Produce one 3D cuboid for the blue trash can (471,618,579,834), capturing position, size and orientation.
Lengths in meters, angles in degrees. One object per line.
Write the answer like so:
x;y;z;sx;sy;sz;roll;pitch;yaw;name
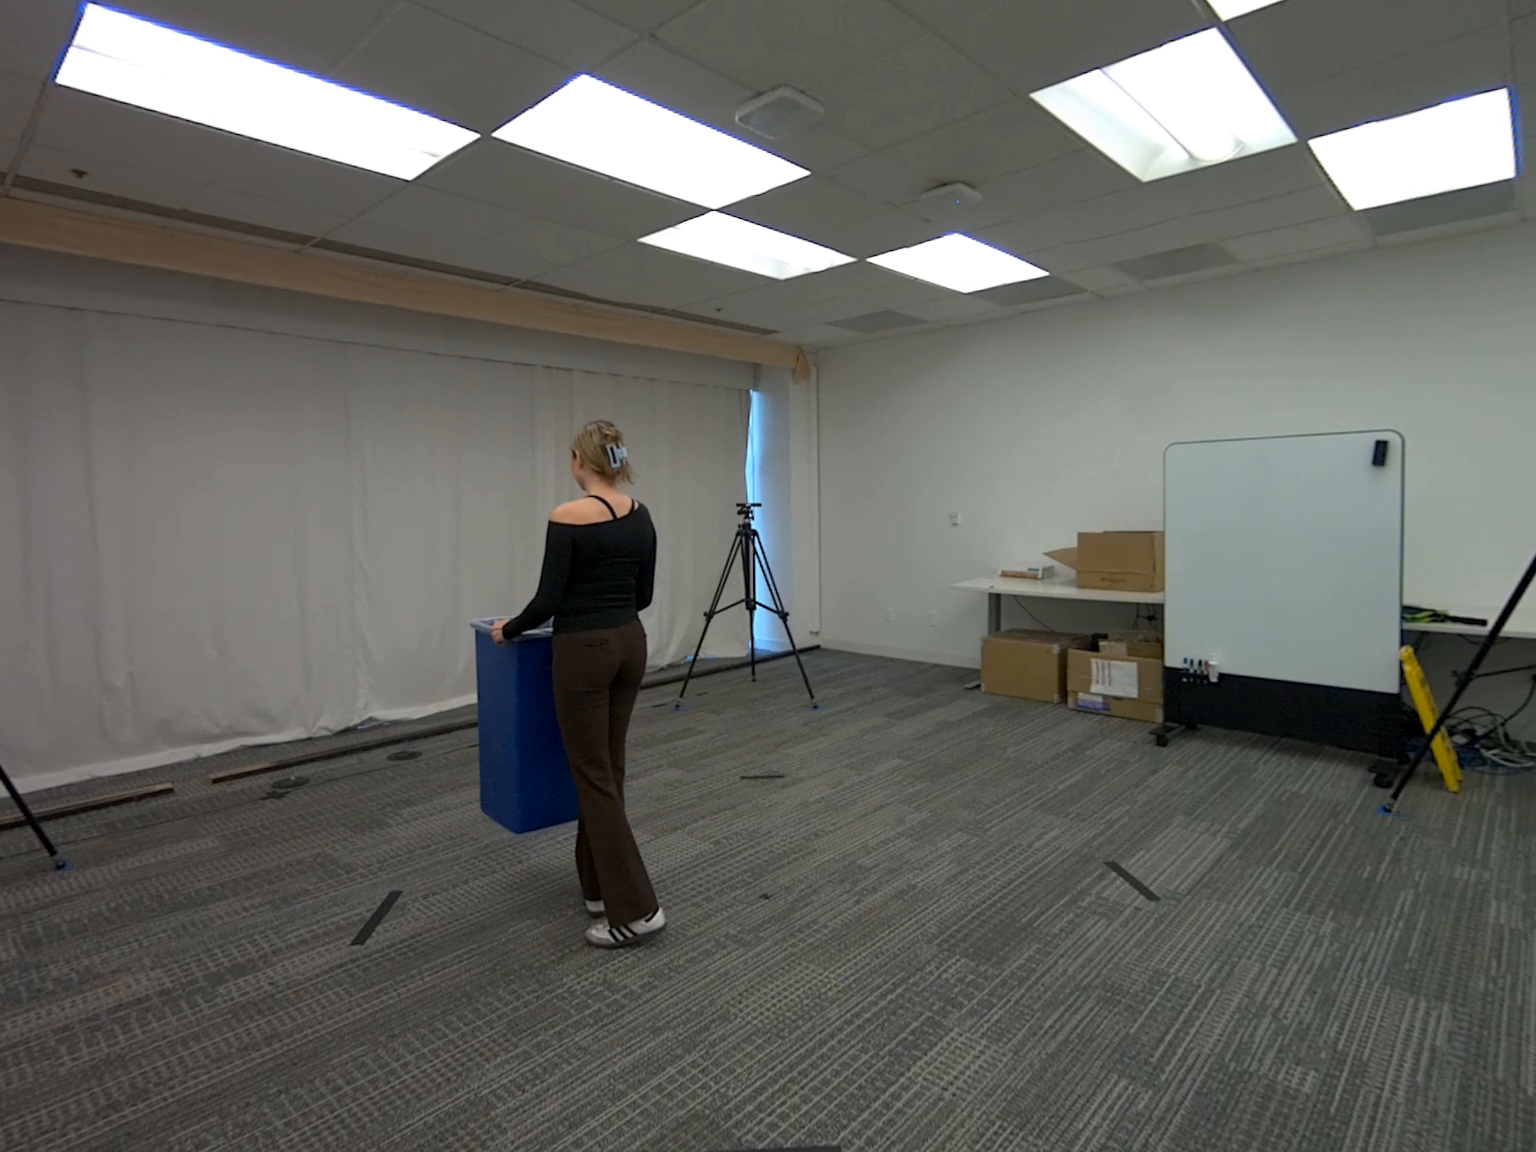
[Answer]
-0.855;0.524;3.088;0.362;0.712;0.391;-1;3;-42;blue trash can
